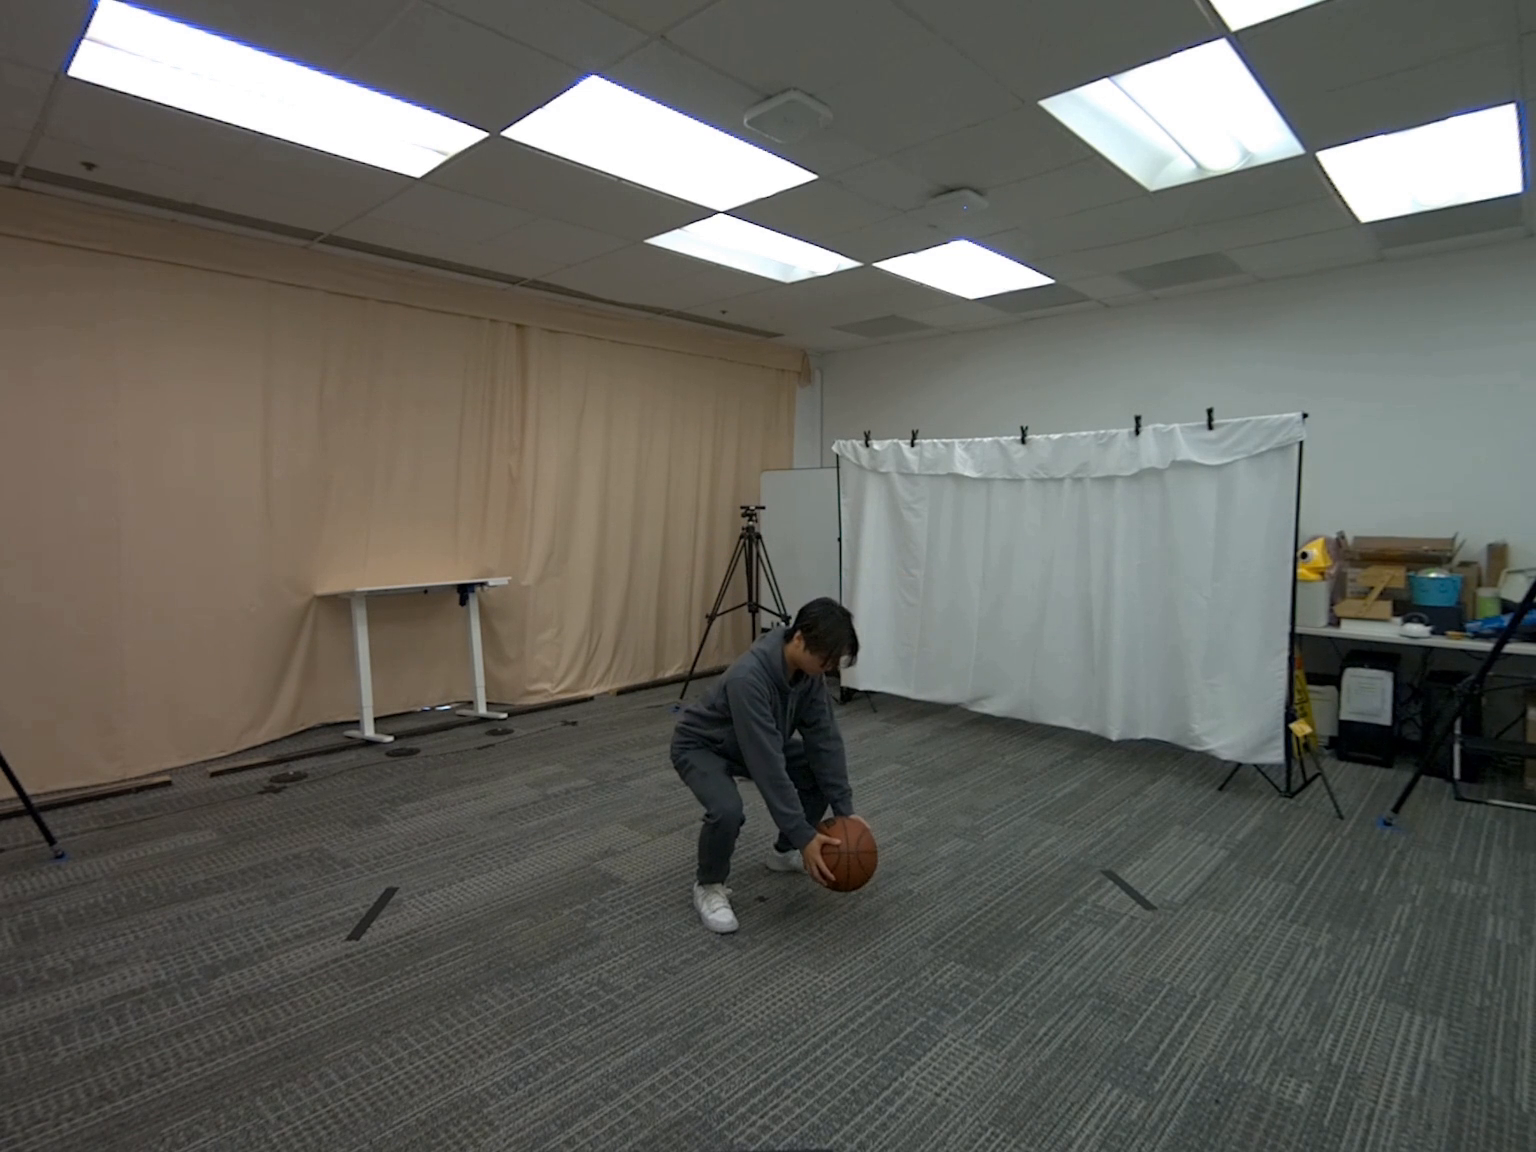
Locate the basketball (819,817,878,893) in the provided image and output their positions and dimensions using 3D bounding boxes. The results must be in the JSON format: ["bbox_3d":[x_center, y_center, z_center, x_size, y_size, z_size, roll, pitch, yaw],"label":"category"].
[{"bbox_3d":[0.244,0.918,2.803,0.236,0.235,0.237,0,4,-2],"label":"basketball"}]
